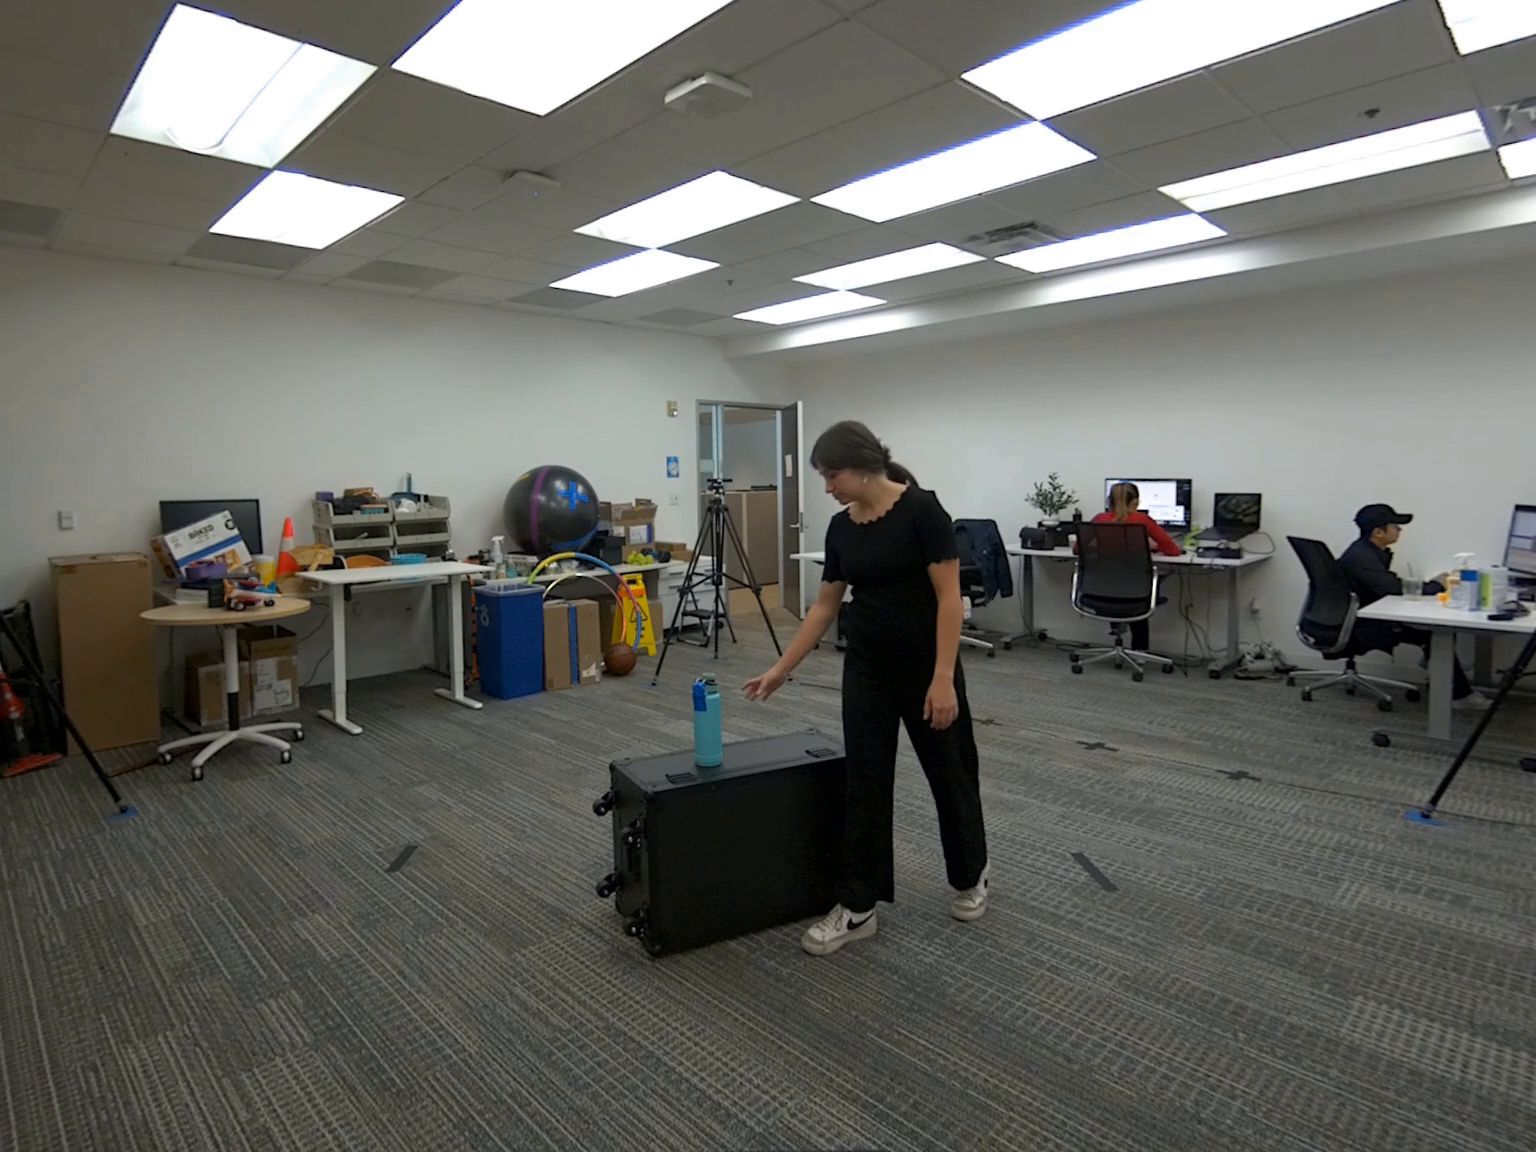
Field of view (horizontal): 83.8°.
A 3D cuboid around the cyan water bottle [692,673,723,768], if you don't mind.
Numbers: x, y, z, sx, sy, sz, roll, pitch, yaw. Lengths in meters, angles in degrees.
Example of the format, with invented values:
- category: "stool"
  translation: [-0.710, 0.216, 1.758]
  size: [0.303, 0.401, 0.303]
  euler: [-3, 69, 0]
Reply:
- category: "cyan water bottle"
  translation: [-0.186, 0.459, 2.748]
  size: [0.092, 0.283, 0.092]
  euler: [-1, 2, -2]
